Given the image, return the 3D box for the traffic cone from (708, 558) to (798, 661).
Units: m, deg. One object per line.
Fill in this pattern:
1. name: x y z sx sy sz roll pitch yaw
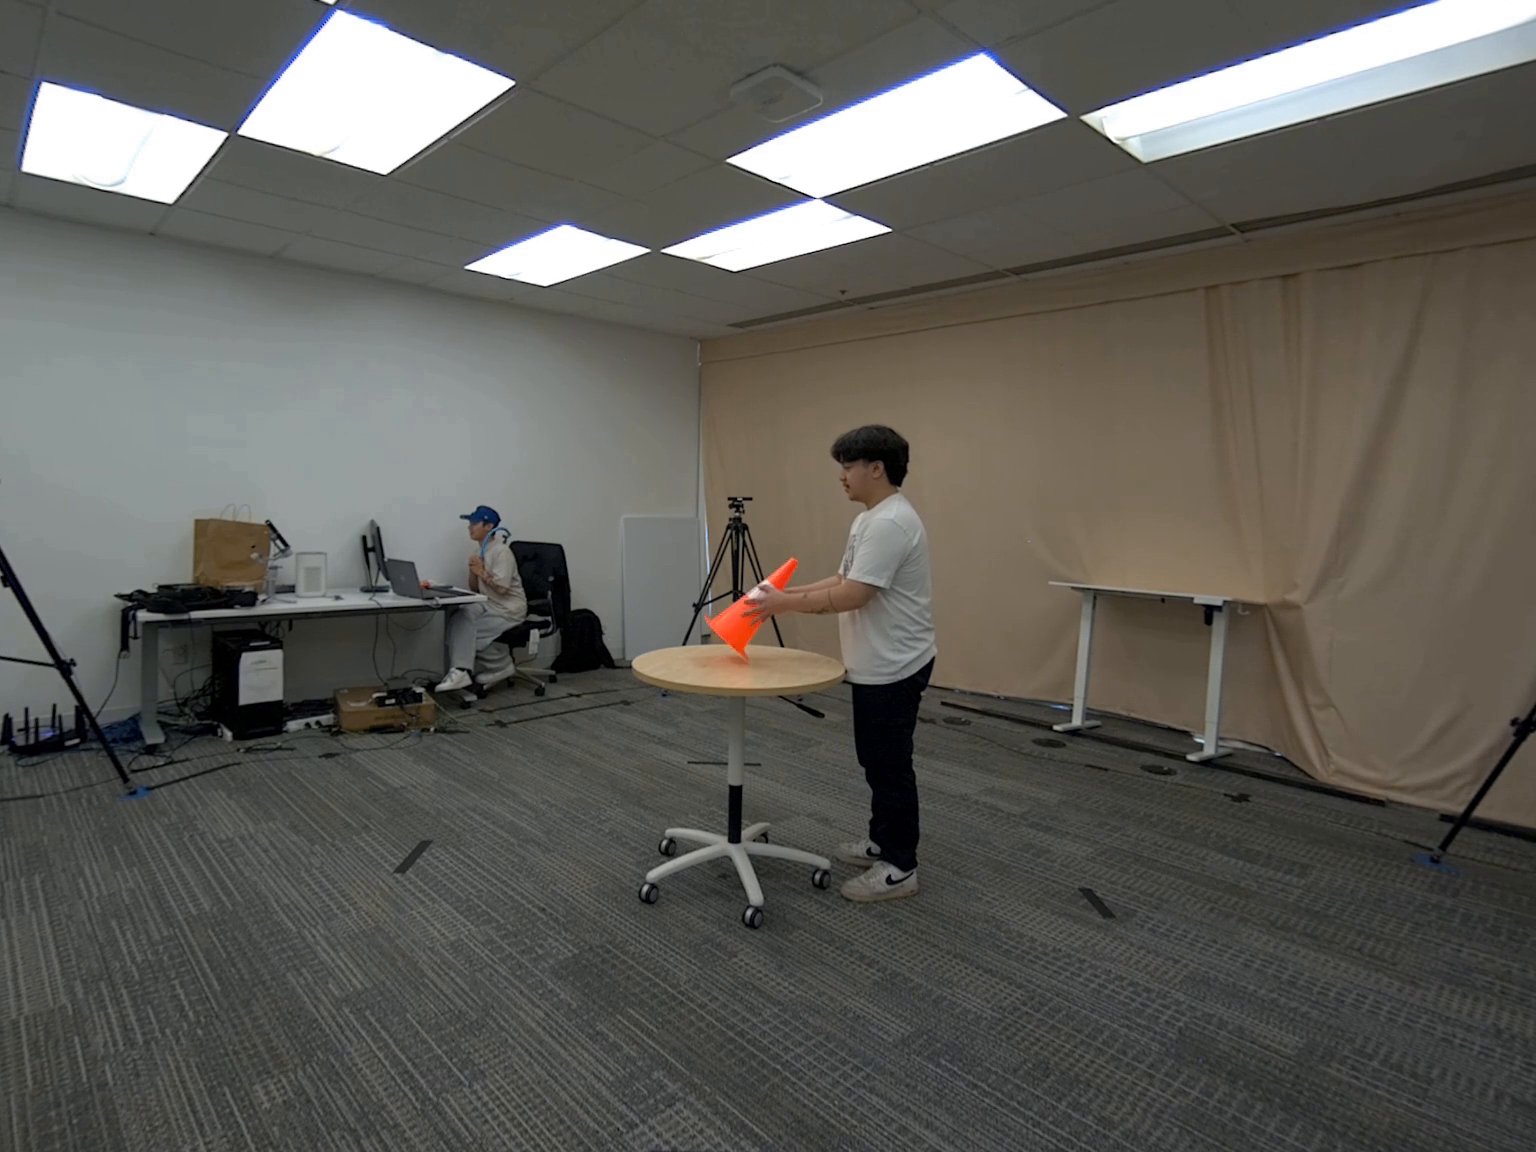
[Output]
1. traffic cone: -0.028 0.087 3.062 0.200 0.383 0.208 41 4 -14
